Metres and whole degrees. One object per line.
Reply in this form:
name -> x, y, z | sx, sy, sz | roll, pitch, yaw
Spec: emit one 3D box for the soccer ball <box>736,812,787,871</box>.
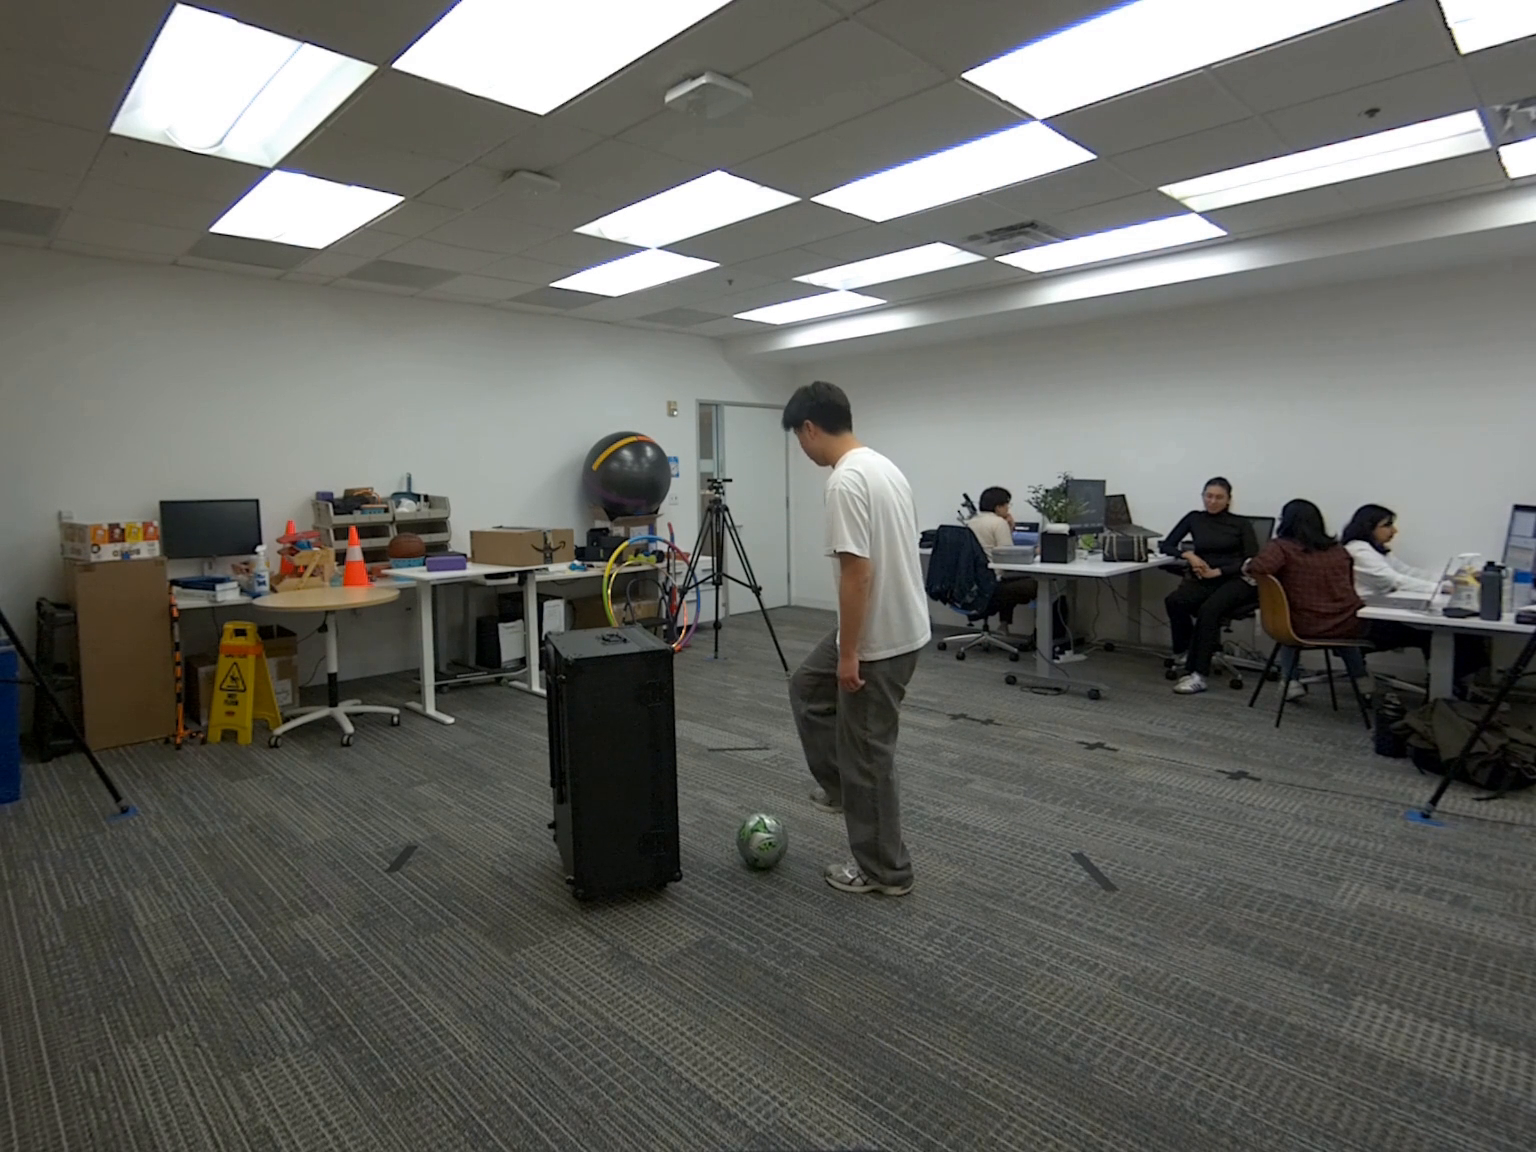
soccer ball -> -0.022, 0.952, 3.082 | 0.187, 0.187, 0.188 | -1, 5, -2
